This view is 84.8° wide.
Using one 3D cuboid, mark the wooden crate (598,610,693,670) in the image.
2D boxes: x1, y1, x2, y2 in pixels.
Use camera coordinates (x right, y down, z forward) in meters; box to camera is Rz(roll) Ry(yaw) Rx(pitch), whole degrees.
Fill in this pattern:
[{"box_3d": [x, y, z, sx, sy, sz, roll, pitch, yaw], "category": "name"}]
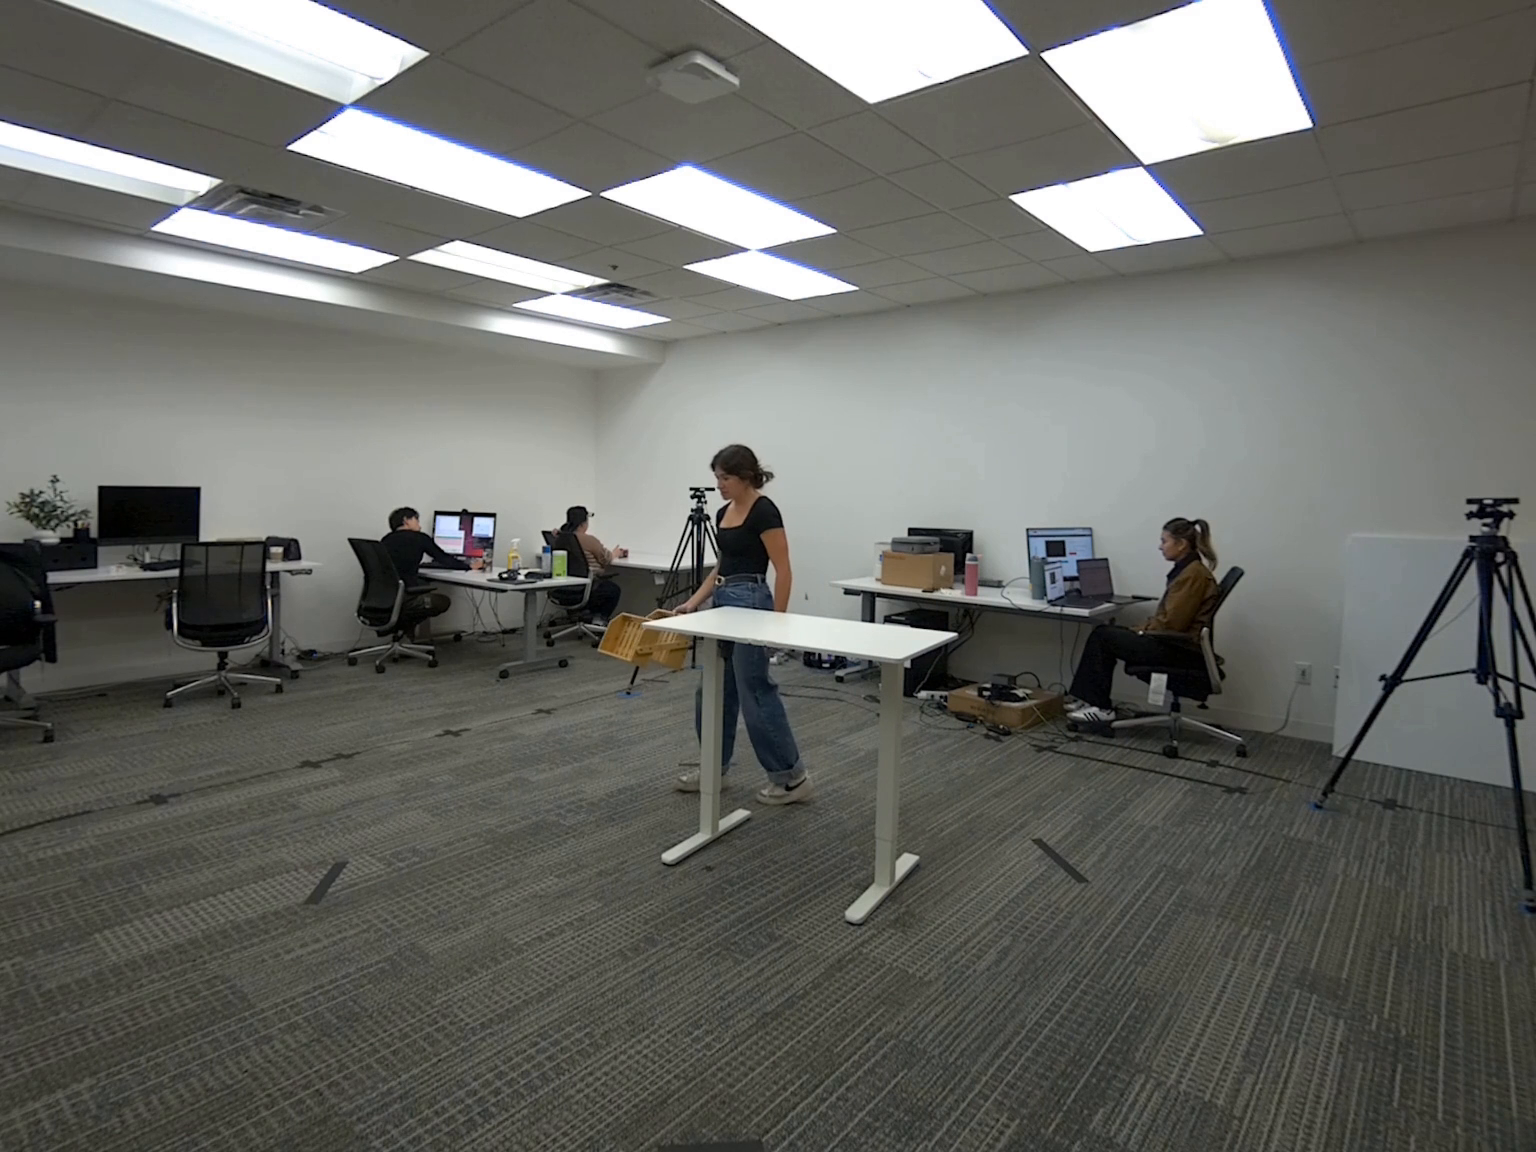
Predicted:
[{"box_3d": [-0.565, 0.265, 3.889, 0.263, 0.304, 0.335, 32, -15, -35], "category": "wooden crate"}]
